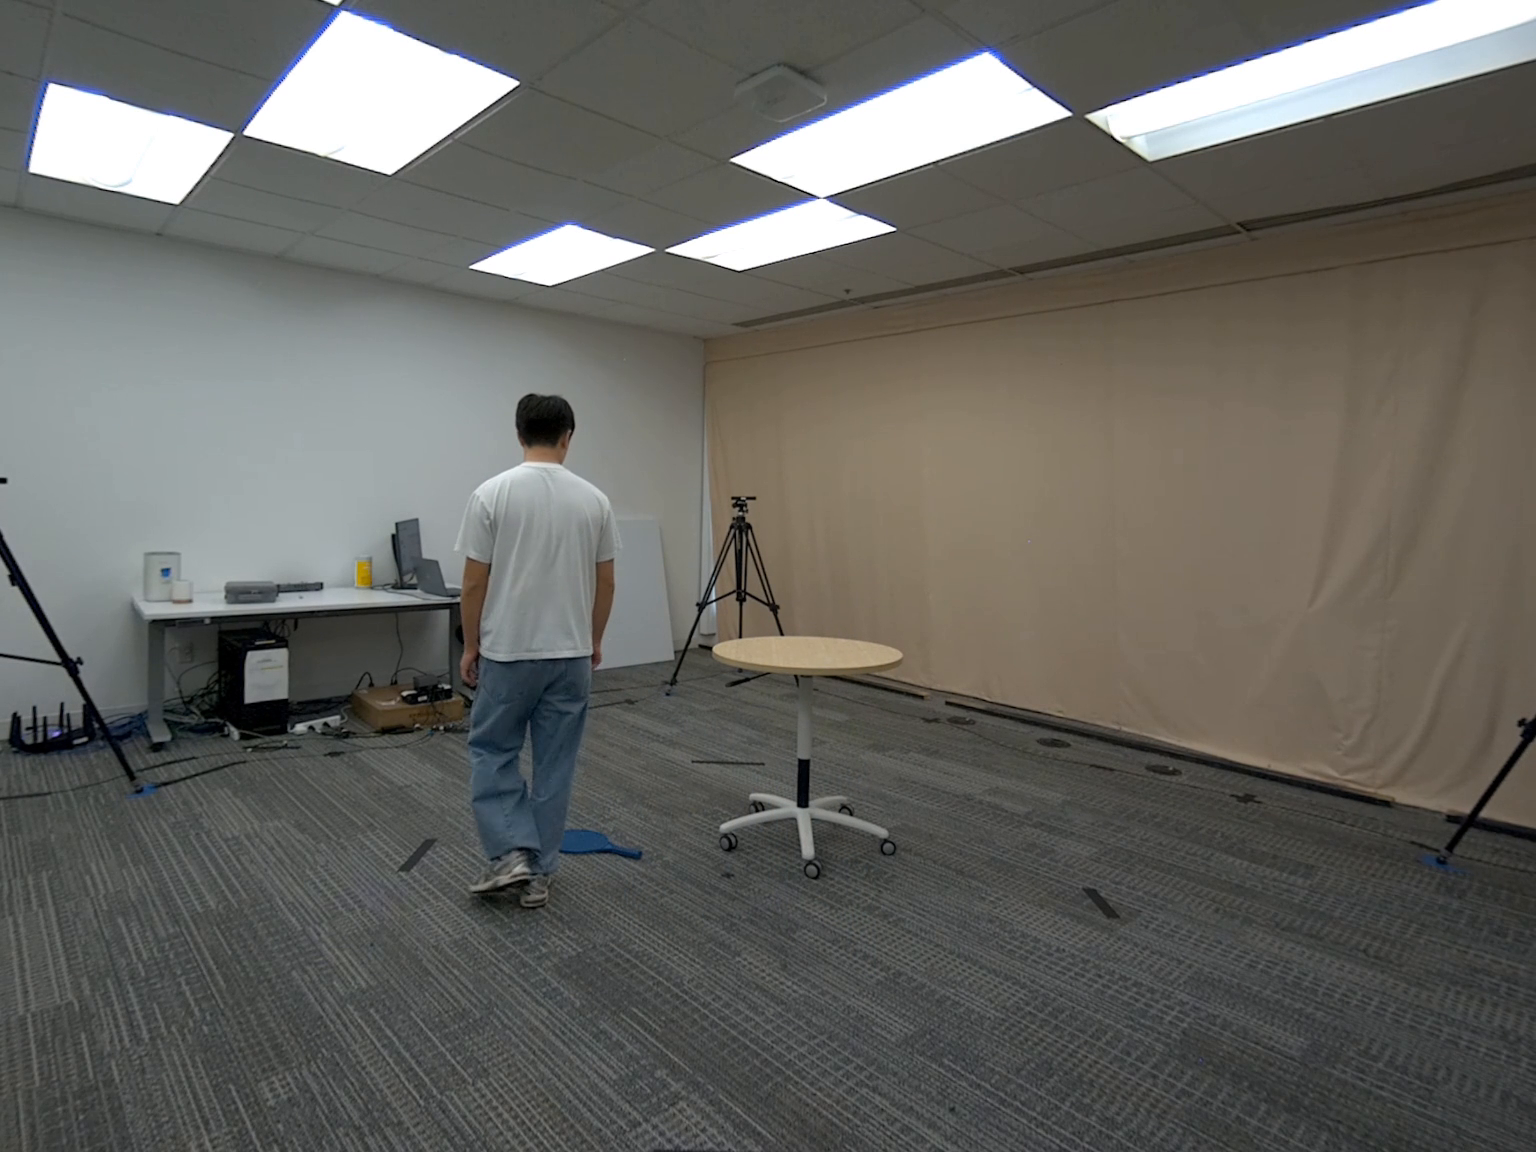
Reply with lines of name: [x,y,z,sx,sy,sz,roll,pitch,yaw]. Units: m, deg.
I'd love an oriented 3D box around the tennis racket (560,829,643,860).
tennis racket: [-0.692,1.060,3.320,0.442,0.031,0.210,2,6,28]
